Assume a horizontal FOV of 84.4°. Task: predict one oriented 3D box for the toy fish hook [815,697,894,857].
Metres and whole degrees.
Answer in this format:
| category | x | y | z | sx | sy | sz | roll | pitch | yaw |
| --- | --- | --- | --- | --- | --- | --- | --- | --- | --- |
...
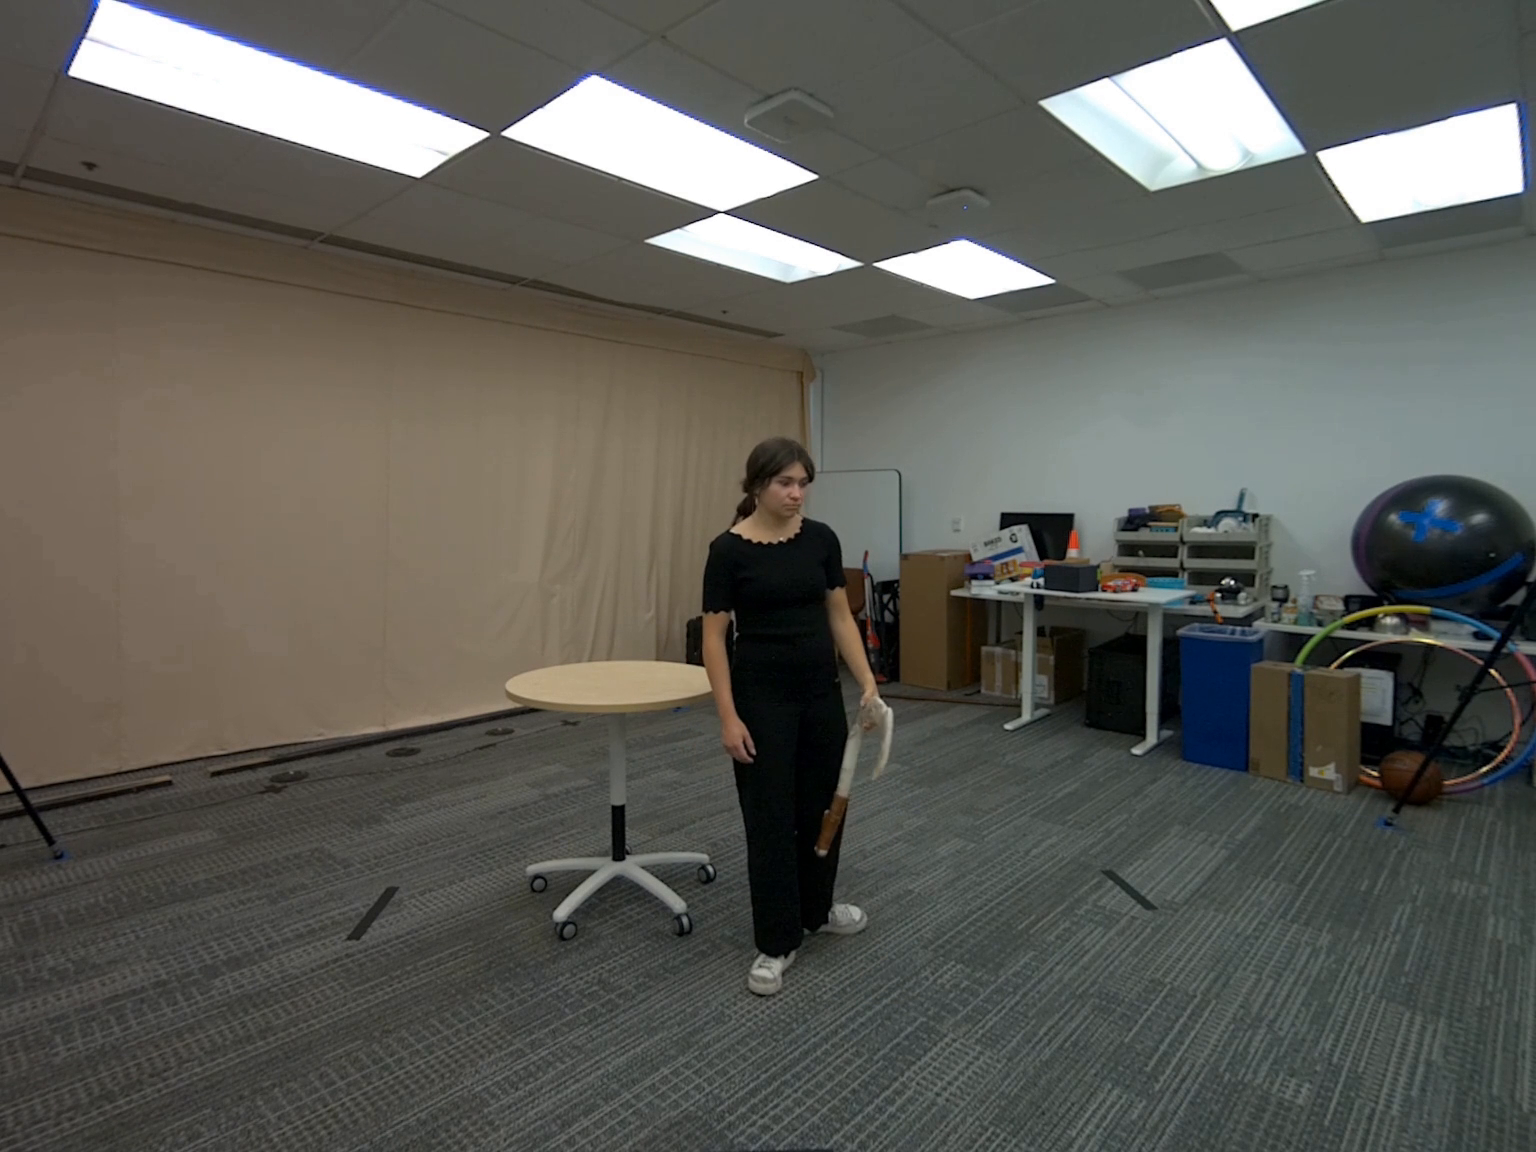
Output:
| category | x | y | z | sx | sy | sz | roll | pitch | yaw |
| --- | --- | --- | --- | --- | --- | --- | --- | --- | --- |
| toy fish hook | 0.249 | 0.586 | 2.376 | 0.048 | 0.505 | 0.228 | 15 | 8 | -12 |
